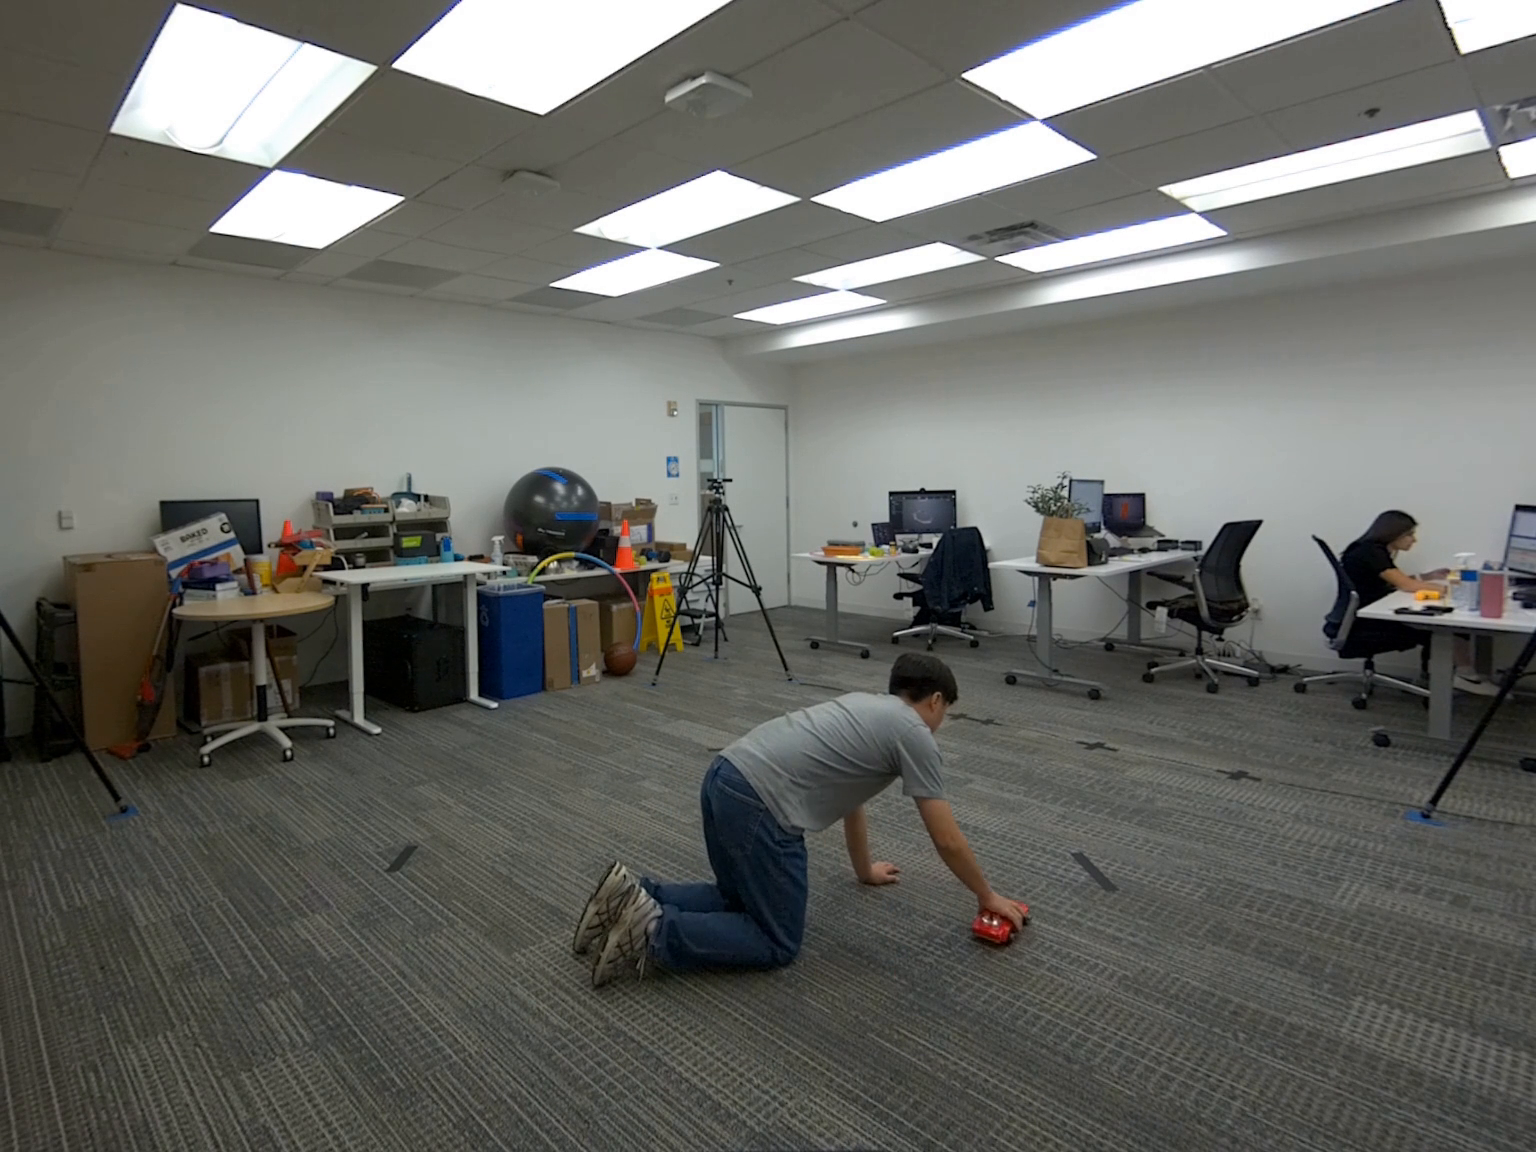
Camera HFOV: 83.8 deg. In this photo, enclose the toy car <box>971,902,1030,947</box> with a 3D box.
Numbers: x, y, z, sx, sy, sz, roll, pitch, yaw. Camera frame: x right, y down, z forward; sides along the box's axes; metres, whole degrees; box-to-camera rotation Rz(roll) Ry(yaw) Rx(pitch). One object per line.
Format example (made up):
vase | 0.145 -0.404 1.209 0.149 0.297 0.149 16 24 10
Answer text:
toy car | 0.713 1.060 2.610 0.134 0.083 0.247 3 -3 34
